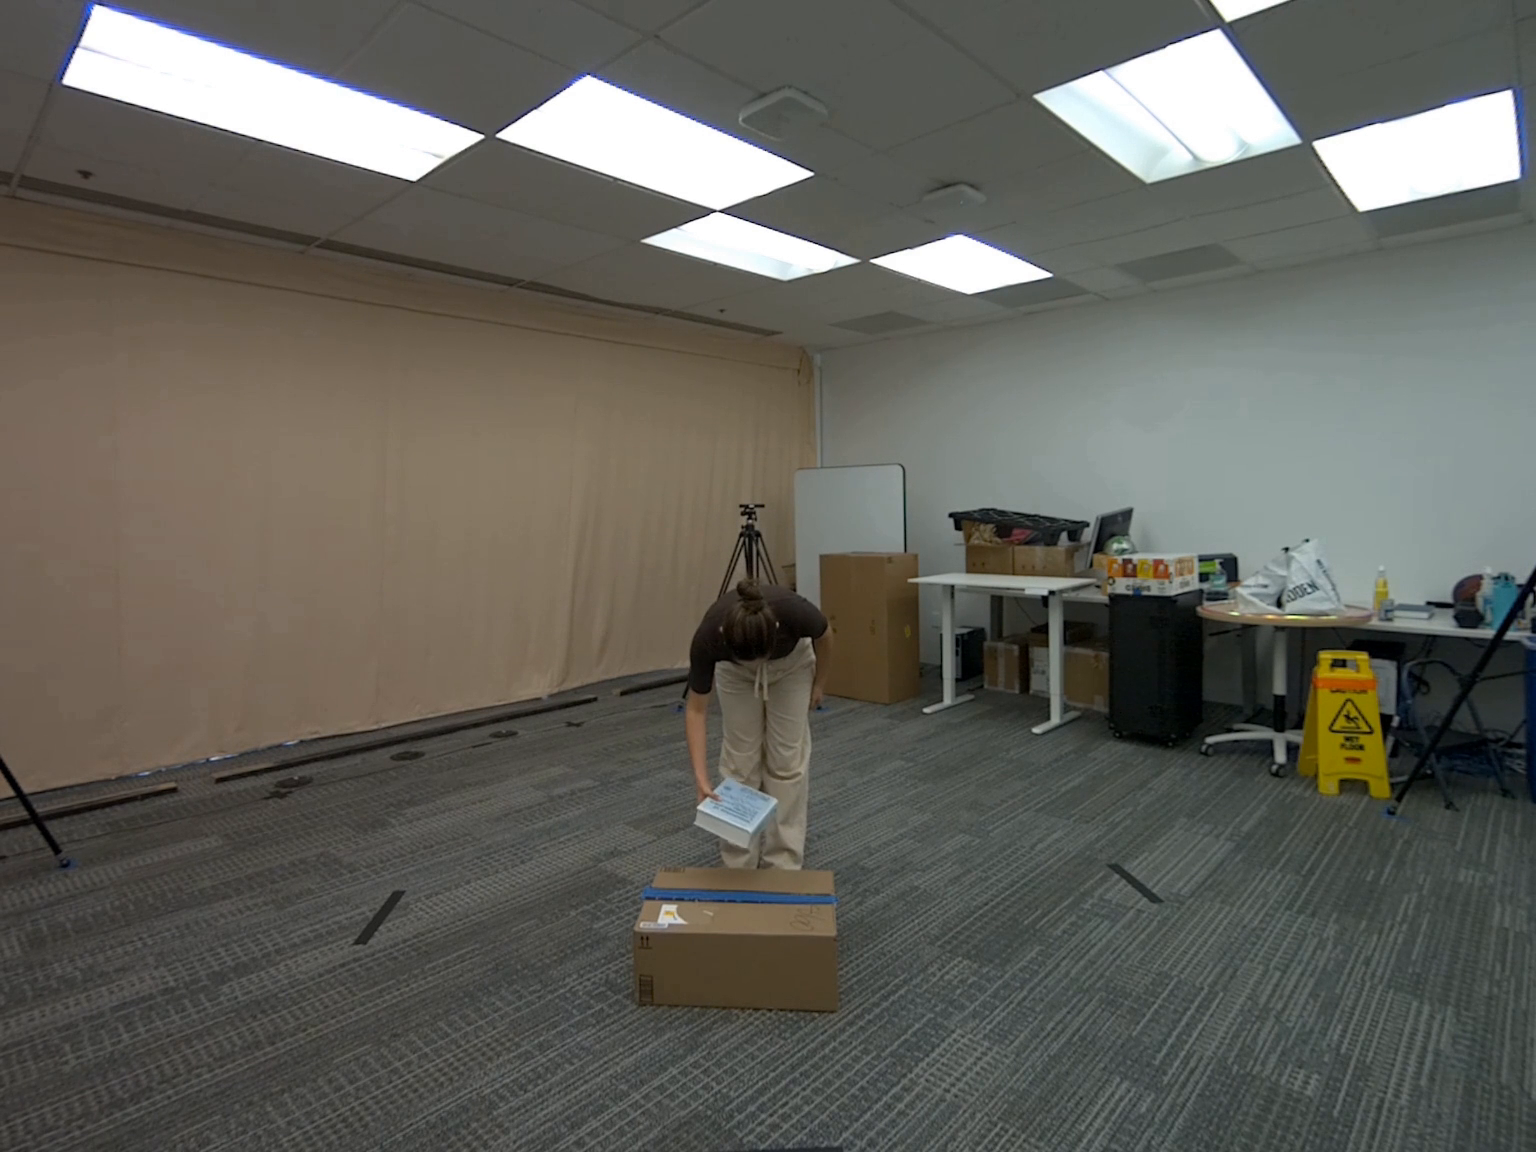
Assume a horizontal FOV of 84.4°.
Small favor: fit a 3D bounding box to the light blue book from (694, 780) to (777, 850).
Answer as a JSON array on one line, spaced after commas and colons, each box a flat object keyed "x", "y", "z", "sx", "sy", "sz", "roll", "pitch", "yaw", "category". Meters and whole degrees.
[{"x": -0.086, "y": 0.743, "z": 2.670, "sx": 0.194, "sy": 0.059, "sz": 0.258, "roll": 14, "pitch": 12, "yaw": 12, "category": "light blue book"}]
